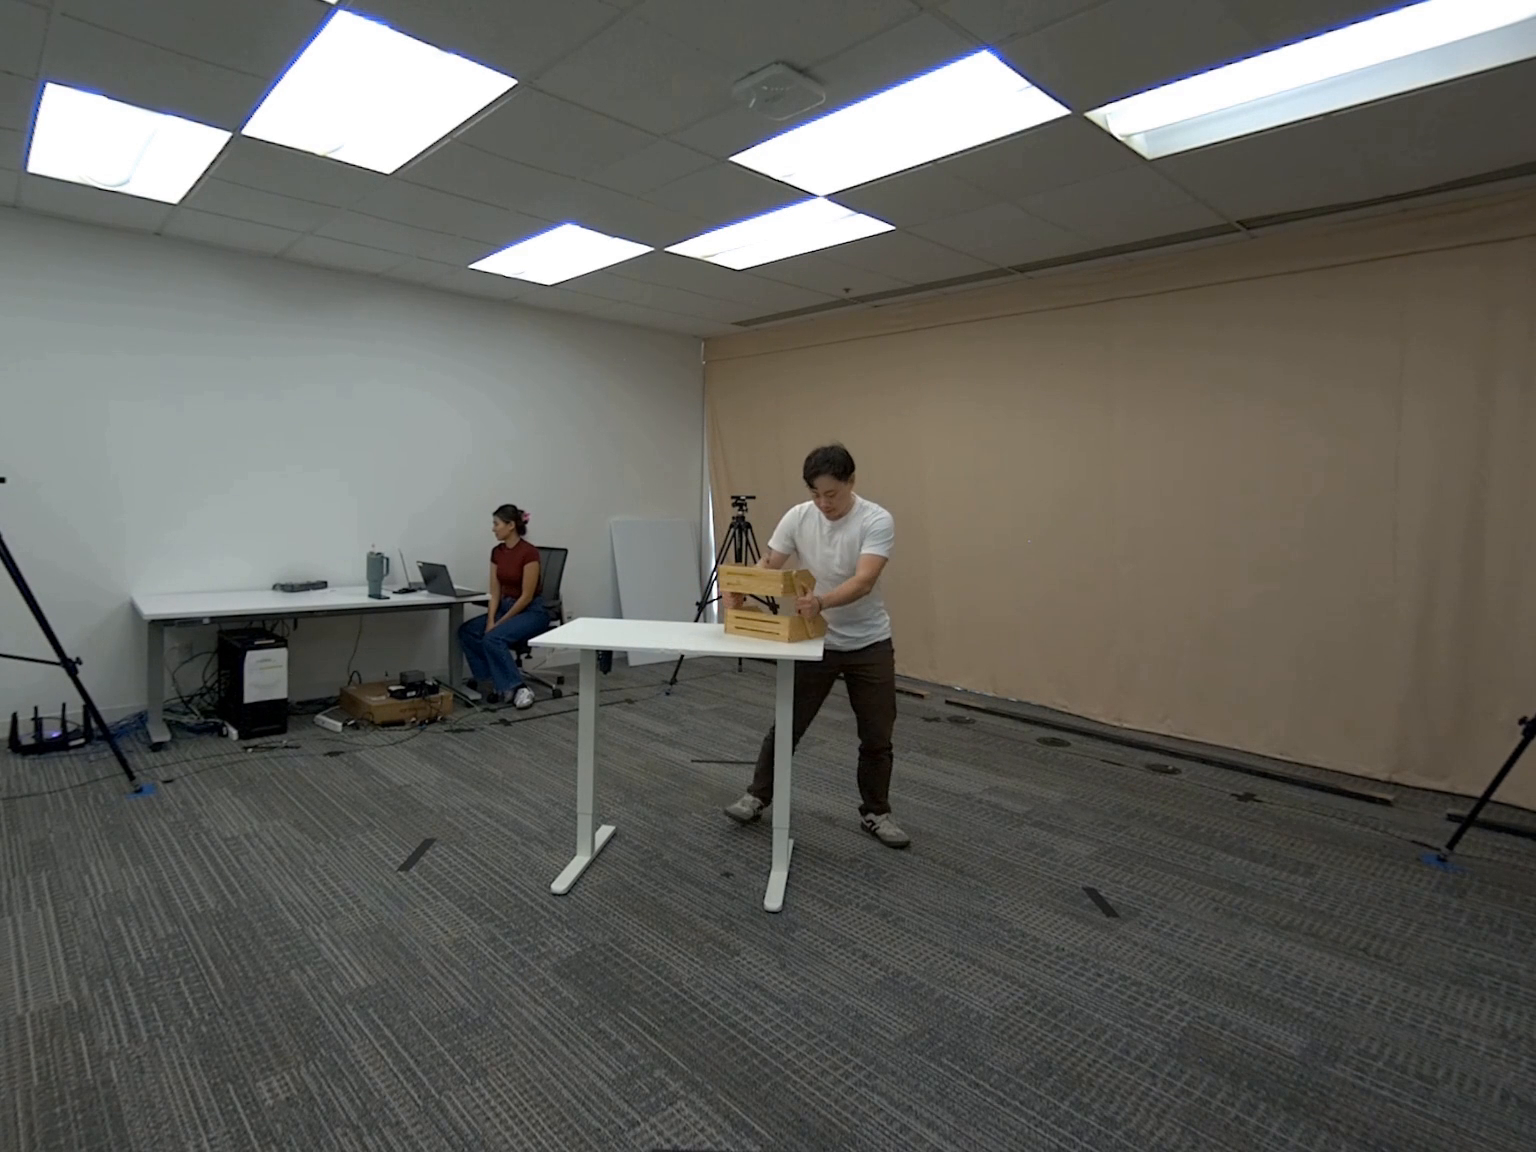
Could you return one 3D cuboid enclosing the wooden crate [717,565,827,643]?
[{"bbox_3d":[0.011,0.090,3.138,0.332,0.272,0.295,5,6,37],"label":"wooden crate"}]
